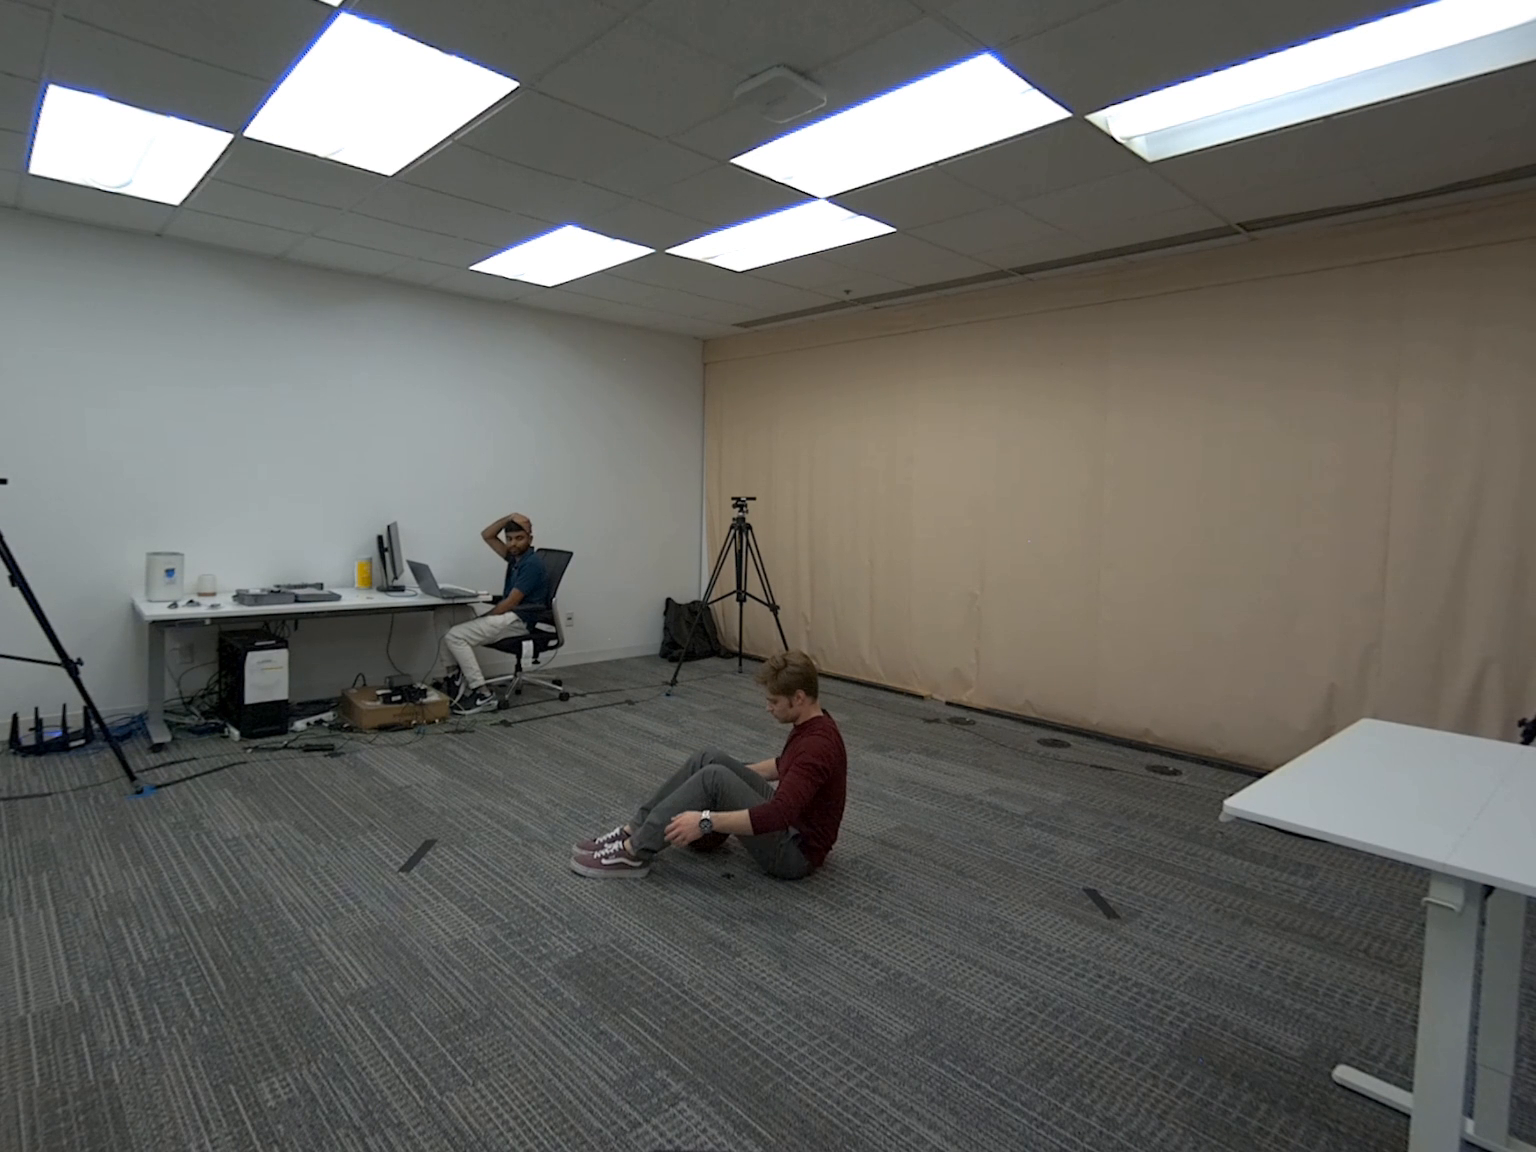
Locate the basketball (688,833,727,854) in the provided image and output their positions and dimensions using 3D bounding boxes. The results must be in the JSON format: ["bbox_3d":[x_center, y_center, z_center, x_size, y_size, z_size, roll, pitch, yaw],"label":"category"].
[{"bbox_3d":[-0.247,0.956,3.355,0.236,0.235,0.237,1,4,-1],"label":"basketball"}]
